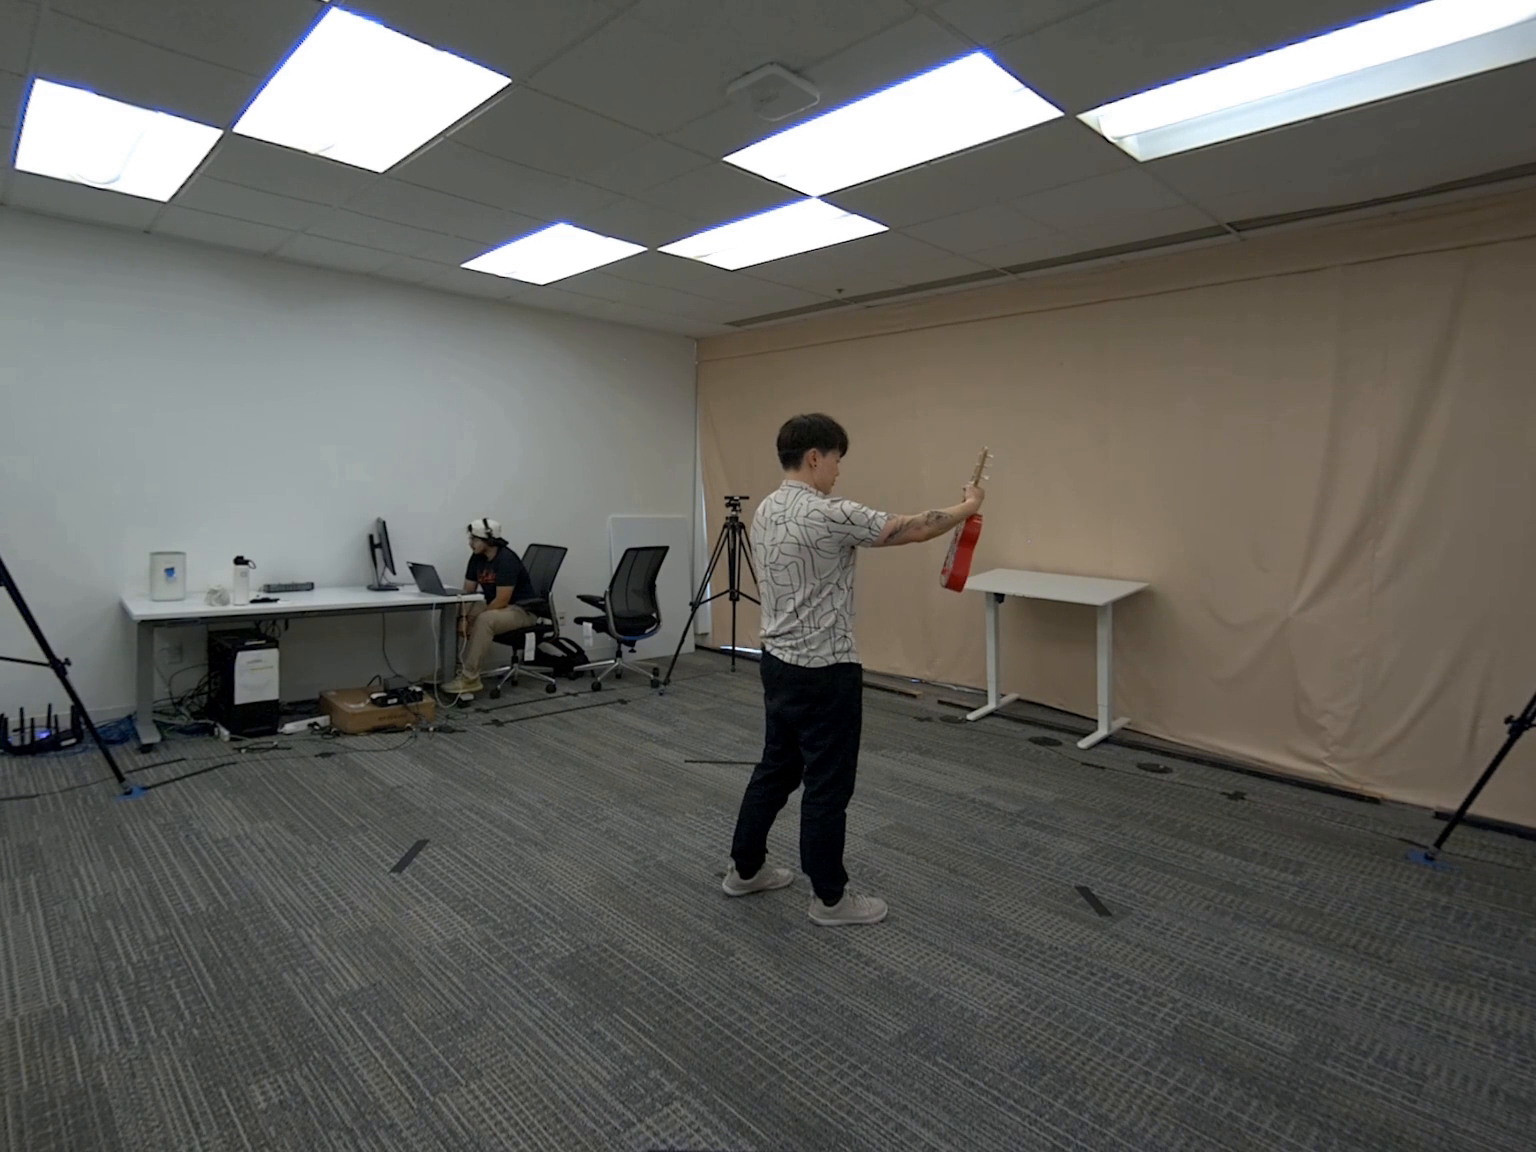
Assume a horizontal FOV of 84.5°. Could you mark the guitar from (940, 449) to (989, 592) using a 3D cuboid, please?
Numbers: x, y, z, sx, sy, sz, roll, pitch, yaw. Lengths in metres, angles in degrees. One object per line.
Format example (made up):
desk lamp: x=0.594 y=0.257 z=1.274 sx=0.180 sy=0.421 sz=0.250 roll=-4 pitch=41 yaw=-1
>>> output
guitar: x=0.679 y=-0.181 z=2.846 sx=0.071 sy=0.493 sz=0.194 roll=15 pitch=17 yaw=3
